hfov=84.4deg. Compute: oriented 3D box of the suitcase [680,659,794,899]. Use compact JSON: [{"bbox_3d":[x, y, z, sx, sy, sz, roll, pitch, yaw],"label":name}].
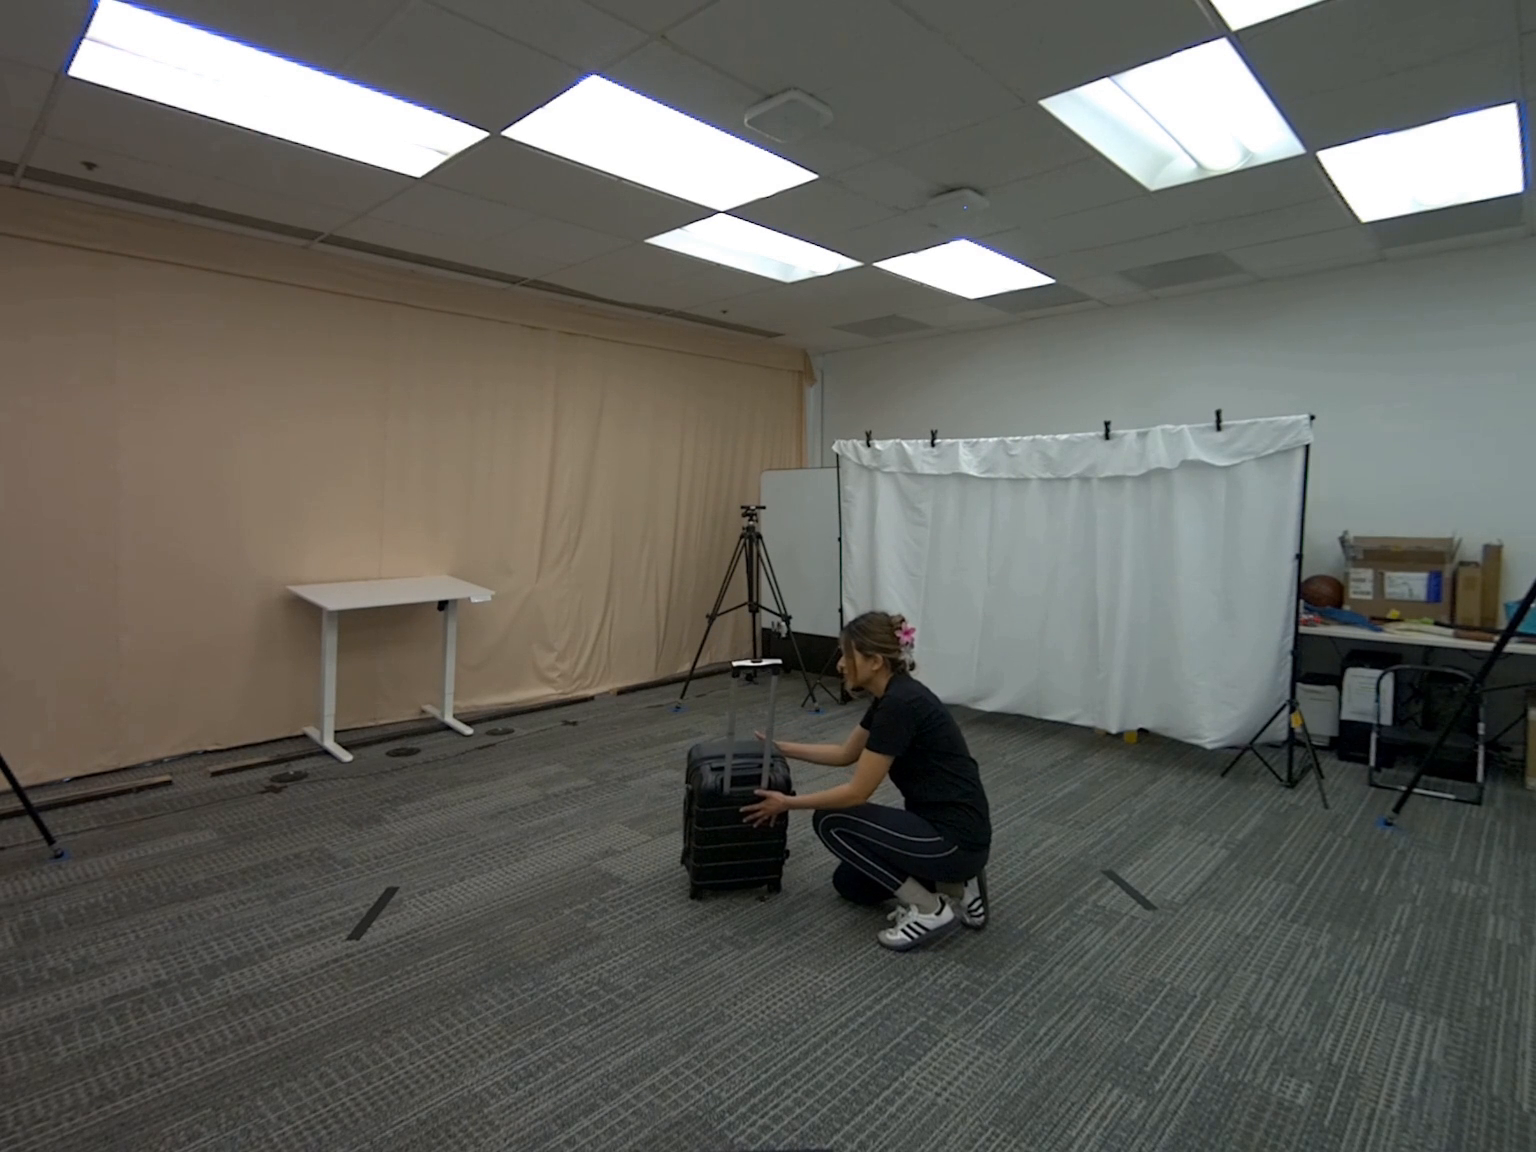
[{"bbox_3d":[-0.103,0.678,2.910,0.380,0.967,0.263,0,23,-10],"label":"suitcase"}]
